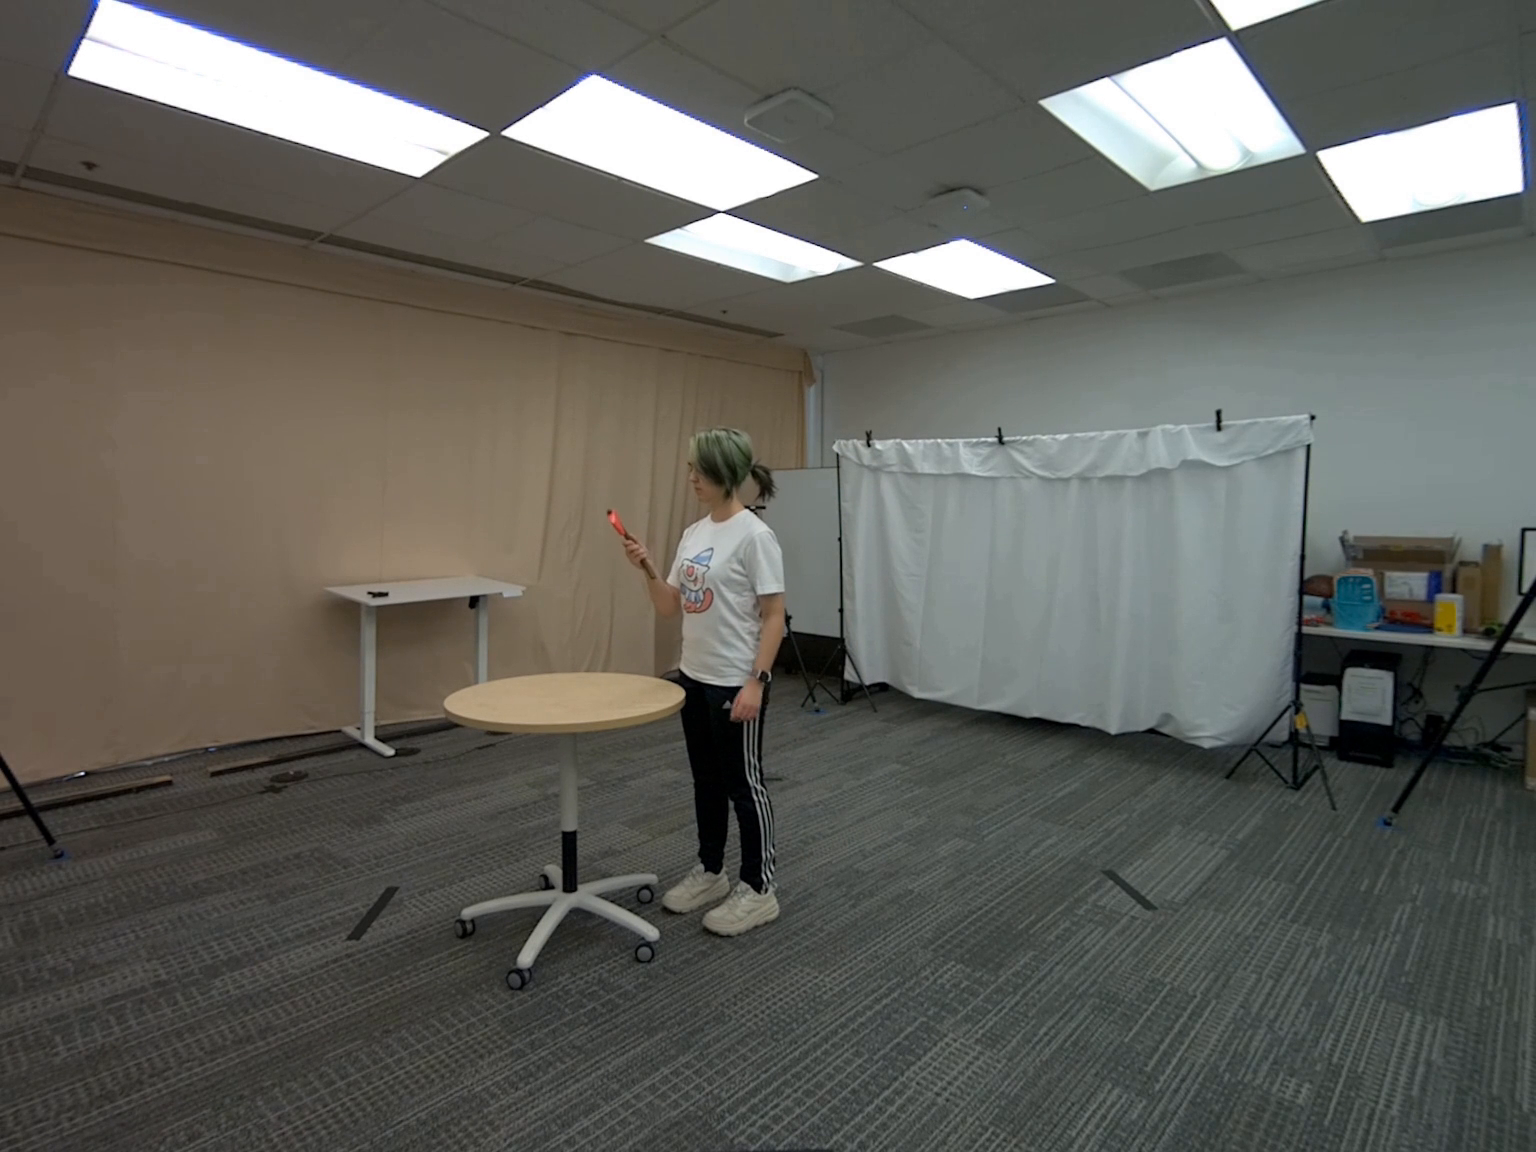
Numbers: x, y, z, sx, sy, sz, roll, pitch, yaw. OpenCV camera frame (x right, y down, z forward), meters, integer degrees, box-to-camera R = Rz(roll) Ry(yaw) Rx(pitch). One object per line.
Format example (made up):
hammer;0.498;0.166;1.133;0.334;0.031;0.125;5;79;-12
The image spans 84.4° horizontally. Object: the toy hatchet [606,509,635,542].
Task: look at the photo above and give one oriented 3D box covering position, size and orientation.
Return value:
toy hatchet;-0.431;-0.100;2.719;0.029;0.268;0.132;-33;7;-1
